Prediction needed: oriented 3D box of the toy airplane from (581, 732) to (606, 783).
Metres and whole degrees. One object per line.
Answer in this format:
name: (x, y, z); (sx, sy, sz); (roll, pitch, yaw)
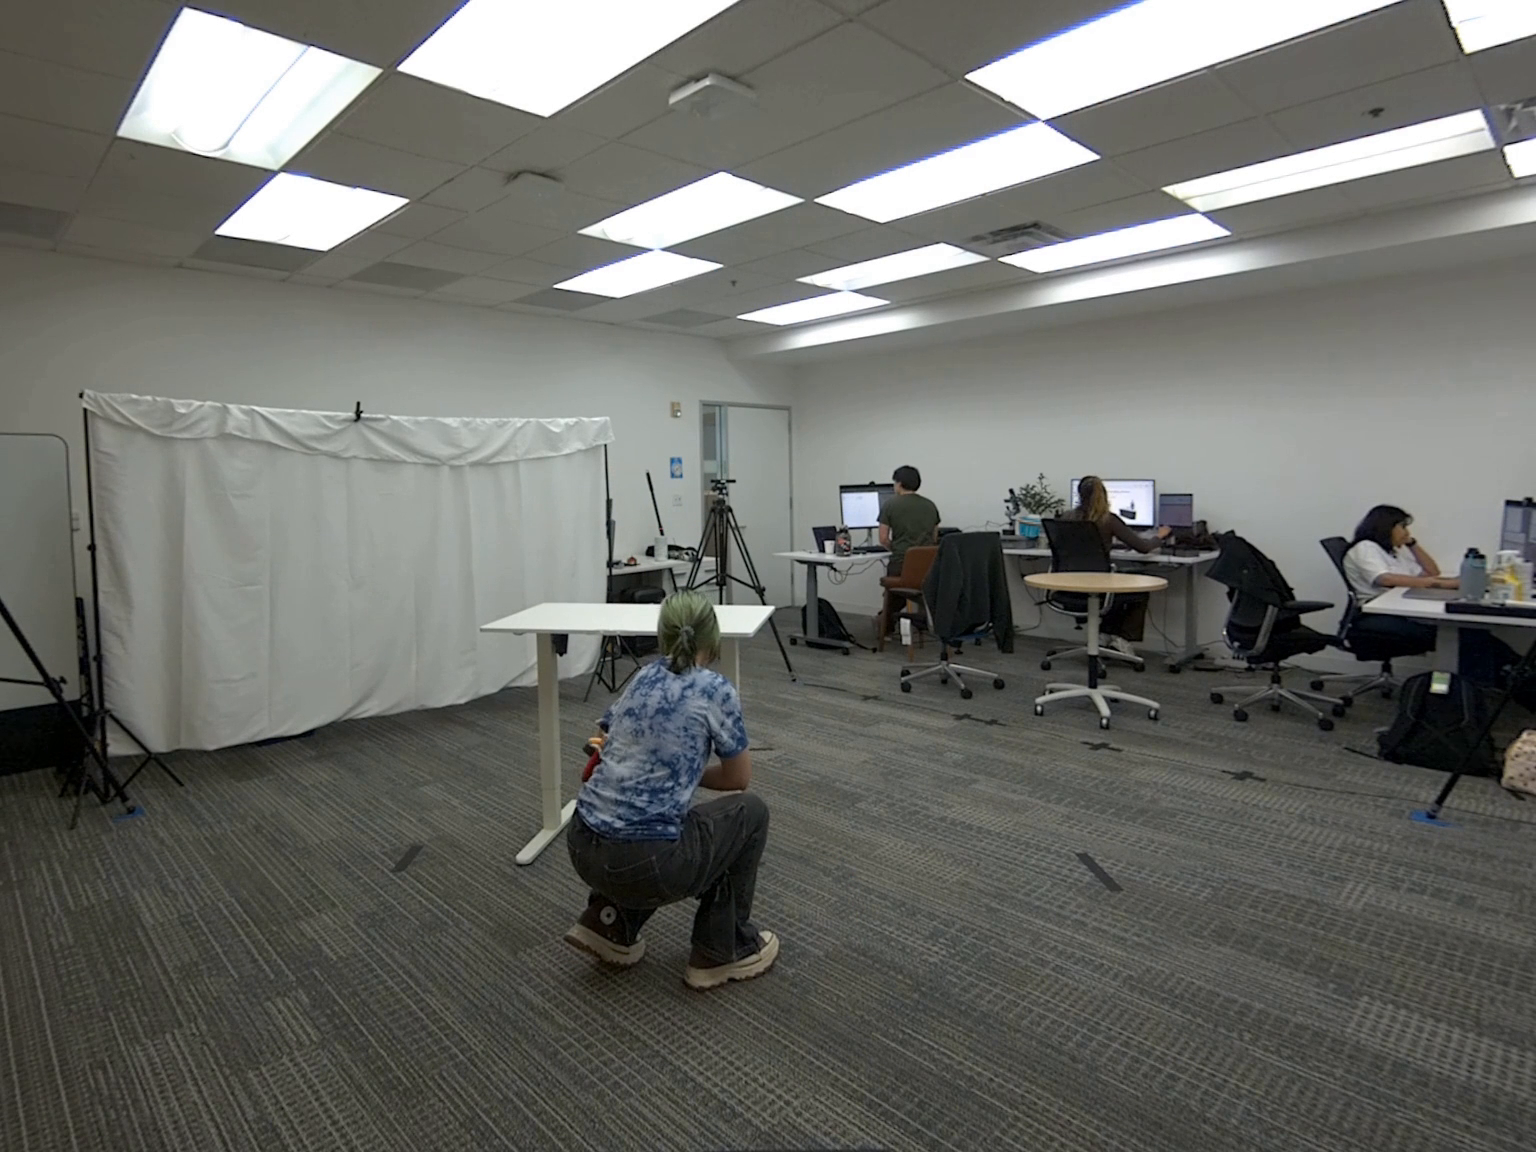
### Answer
toy airplane: (-0.420, 0.551, 2.606); (0.250, 0.252, 0.161); (20, -5, -36)
